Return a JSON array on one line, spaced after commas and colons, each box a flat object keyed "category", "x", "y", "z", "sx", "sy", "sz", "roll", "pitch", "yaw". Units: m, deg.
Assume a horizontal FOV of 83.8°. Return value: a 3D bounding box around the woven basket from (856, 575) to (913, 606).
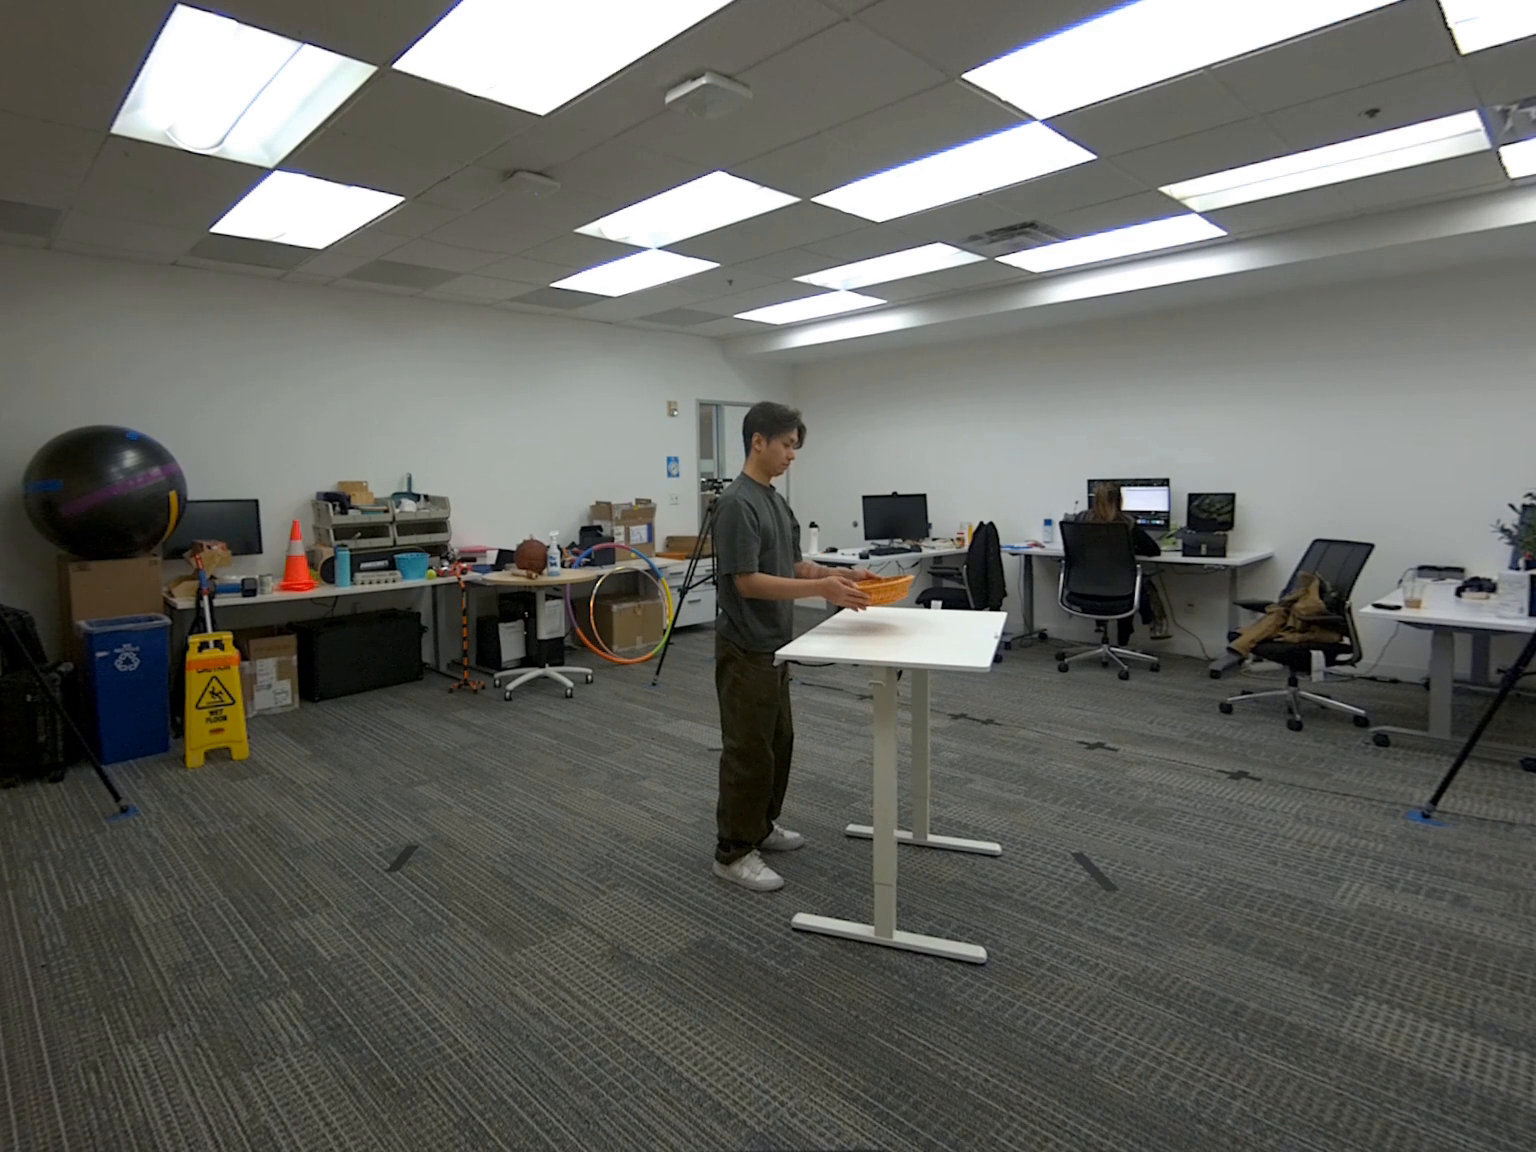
[{"category": "woven basket", "x": 0.344, "y": 0.060, "z": 2.933, "sx": 0.254, "sy": 0.073, "sz": 0.348, "roll": -8, "pitch": 3, "yaw": 9}]
